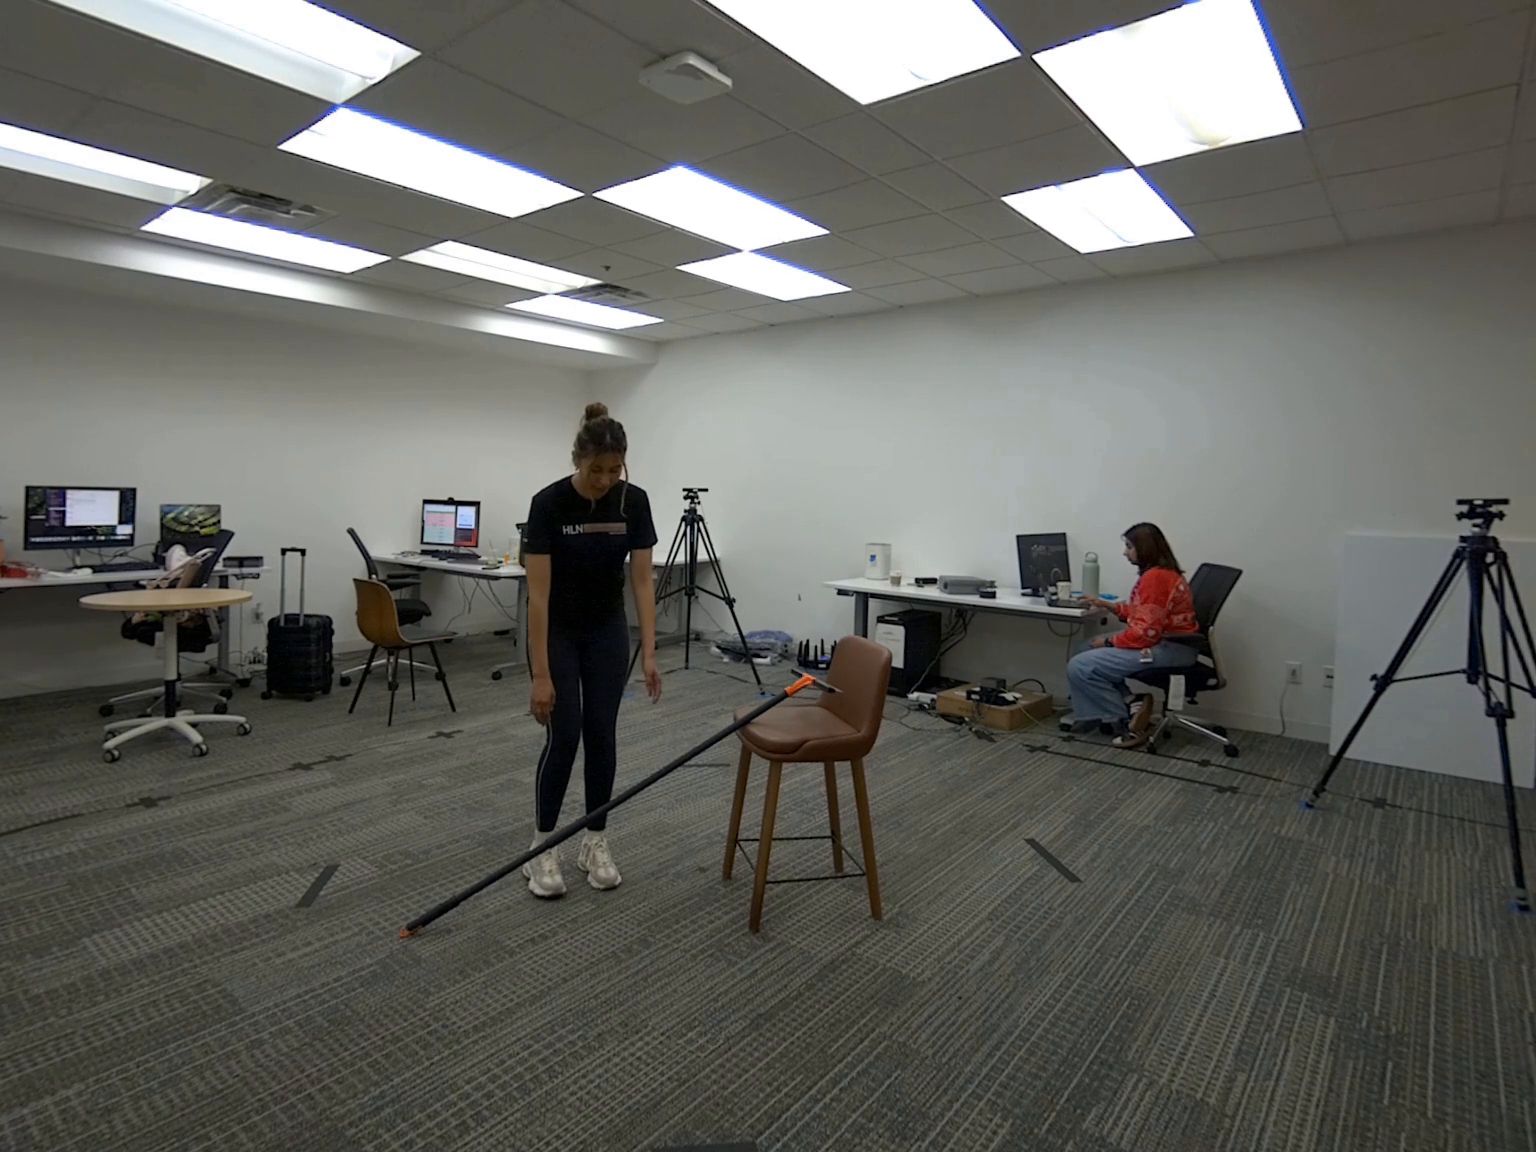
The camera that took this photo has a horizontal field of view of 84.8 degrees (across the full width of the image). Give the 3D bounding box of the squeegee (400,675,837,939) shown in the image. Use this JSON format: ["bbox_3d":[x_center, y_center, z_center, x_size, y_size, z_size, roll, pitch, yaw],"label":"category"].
[{"bbox_3d":[-0.485,0.725,2.730,1.531,0.421,0.055,-29,44,-9],"label":"squeegee"}]
